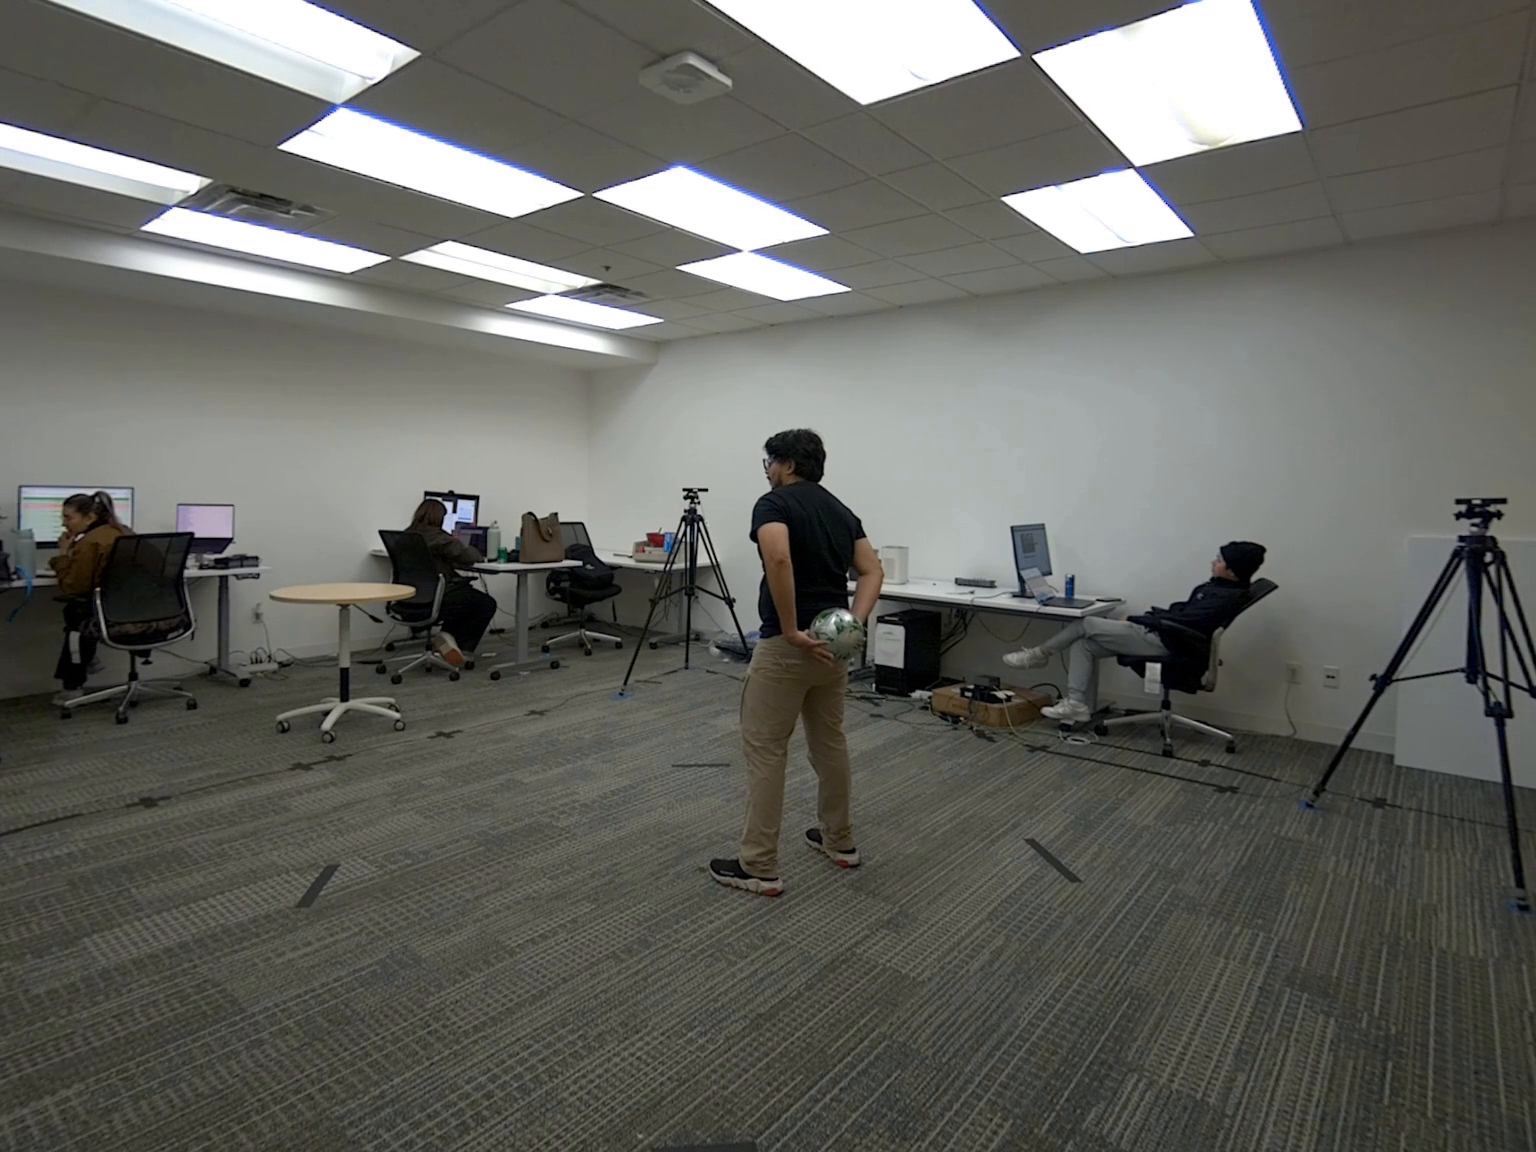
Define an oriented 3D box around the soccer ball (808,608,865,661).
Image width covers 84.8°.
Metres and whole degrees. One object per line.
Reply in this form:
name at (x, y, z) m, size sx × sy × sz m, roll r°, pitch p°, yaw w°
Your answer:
soccer ball at (0.225, 0.200, 2.905) m, size 0.187 × 0.187 × 0.188 m, roll 1°, pitch 4°, yaw -2°
